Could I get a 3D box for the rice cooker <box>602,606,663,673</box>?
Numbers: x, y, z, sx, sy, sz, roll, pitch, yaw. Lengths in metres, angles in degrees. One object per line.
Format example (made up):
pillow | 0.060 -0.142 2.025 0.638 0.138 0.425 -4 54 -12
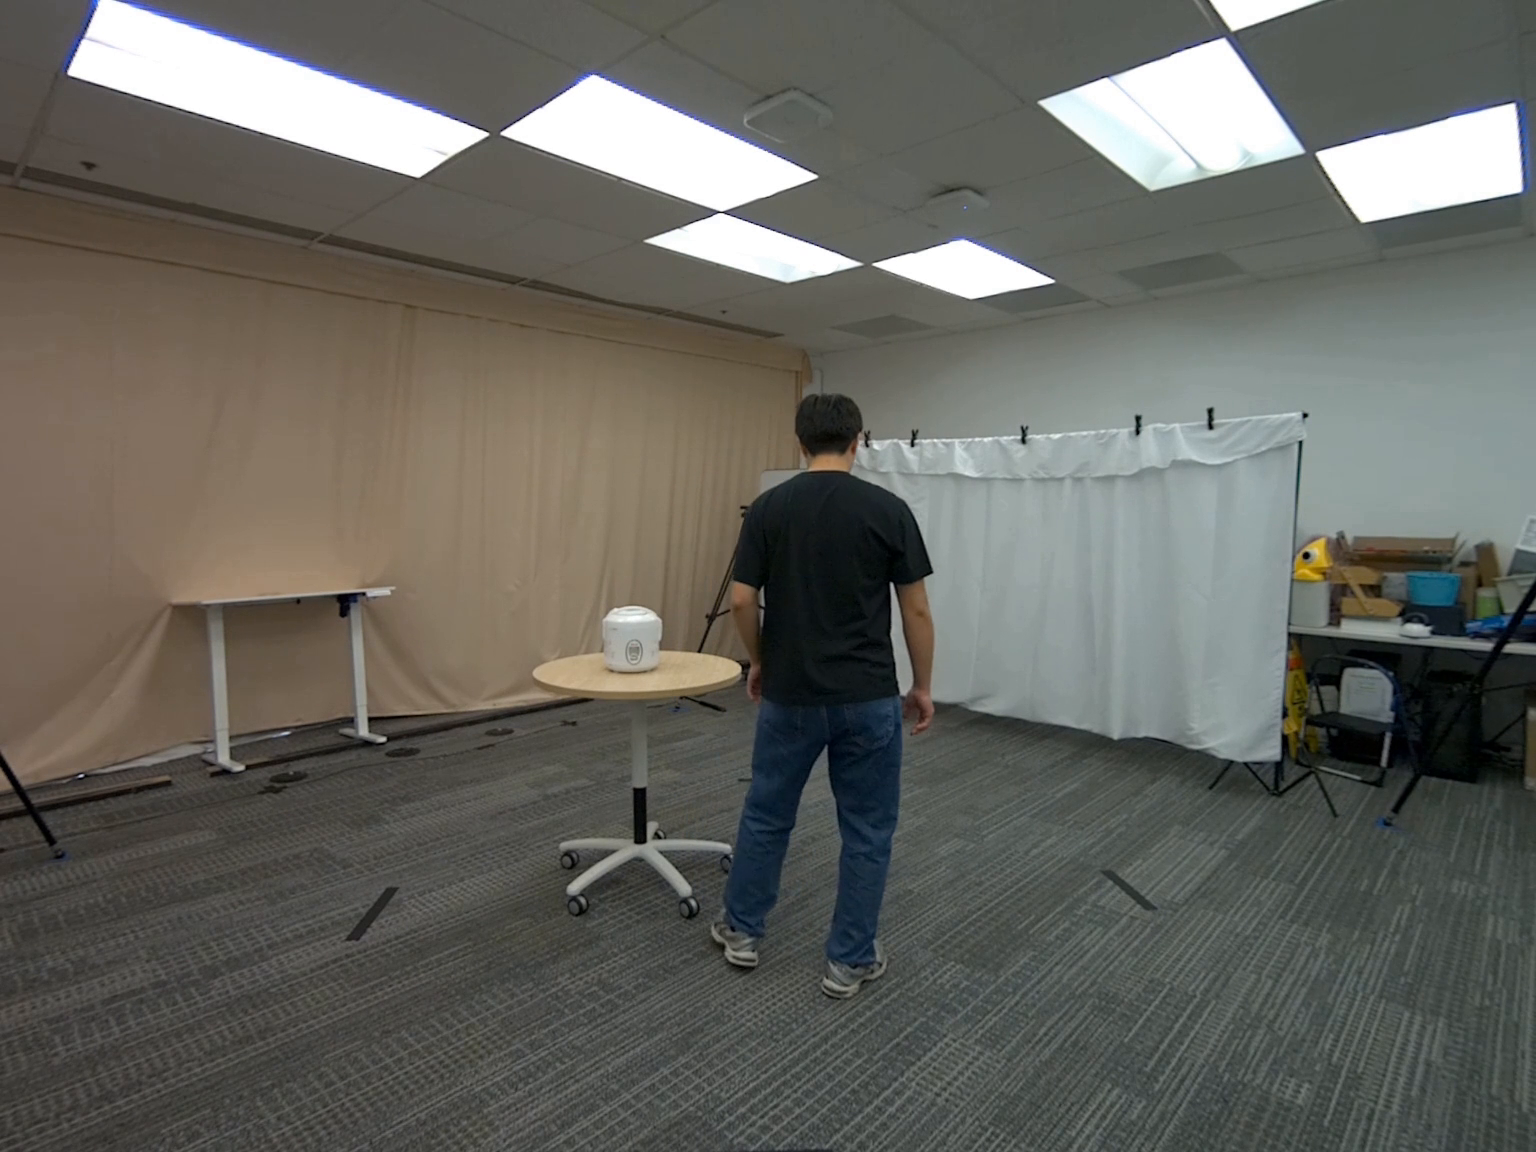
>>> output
rice cooker | -0.501 0.229 3.101 0.218 0.232 0.221 -2 4 -12
